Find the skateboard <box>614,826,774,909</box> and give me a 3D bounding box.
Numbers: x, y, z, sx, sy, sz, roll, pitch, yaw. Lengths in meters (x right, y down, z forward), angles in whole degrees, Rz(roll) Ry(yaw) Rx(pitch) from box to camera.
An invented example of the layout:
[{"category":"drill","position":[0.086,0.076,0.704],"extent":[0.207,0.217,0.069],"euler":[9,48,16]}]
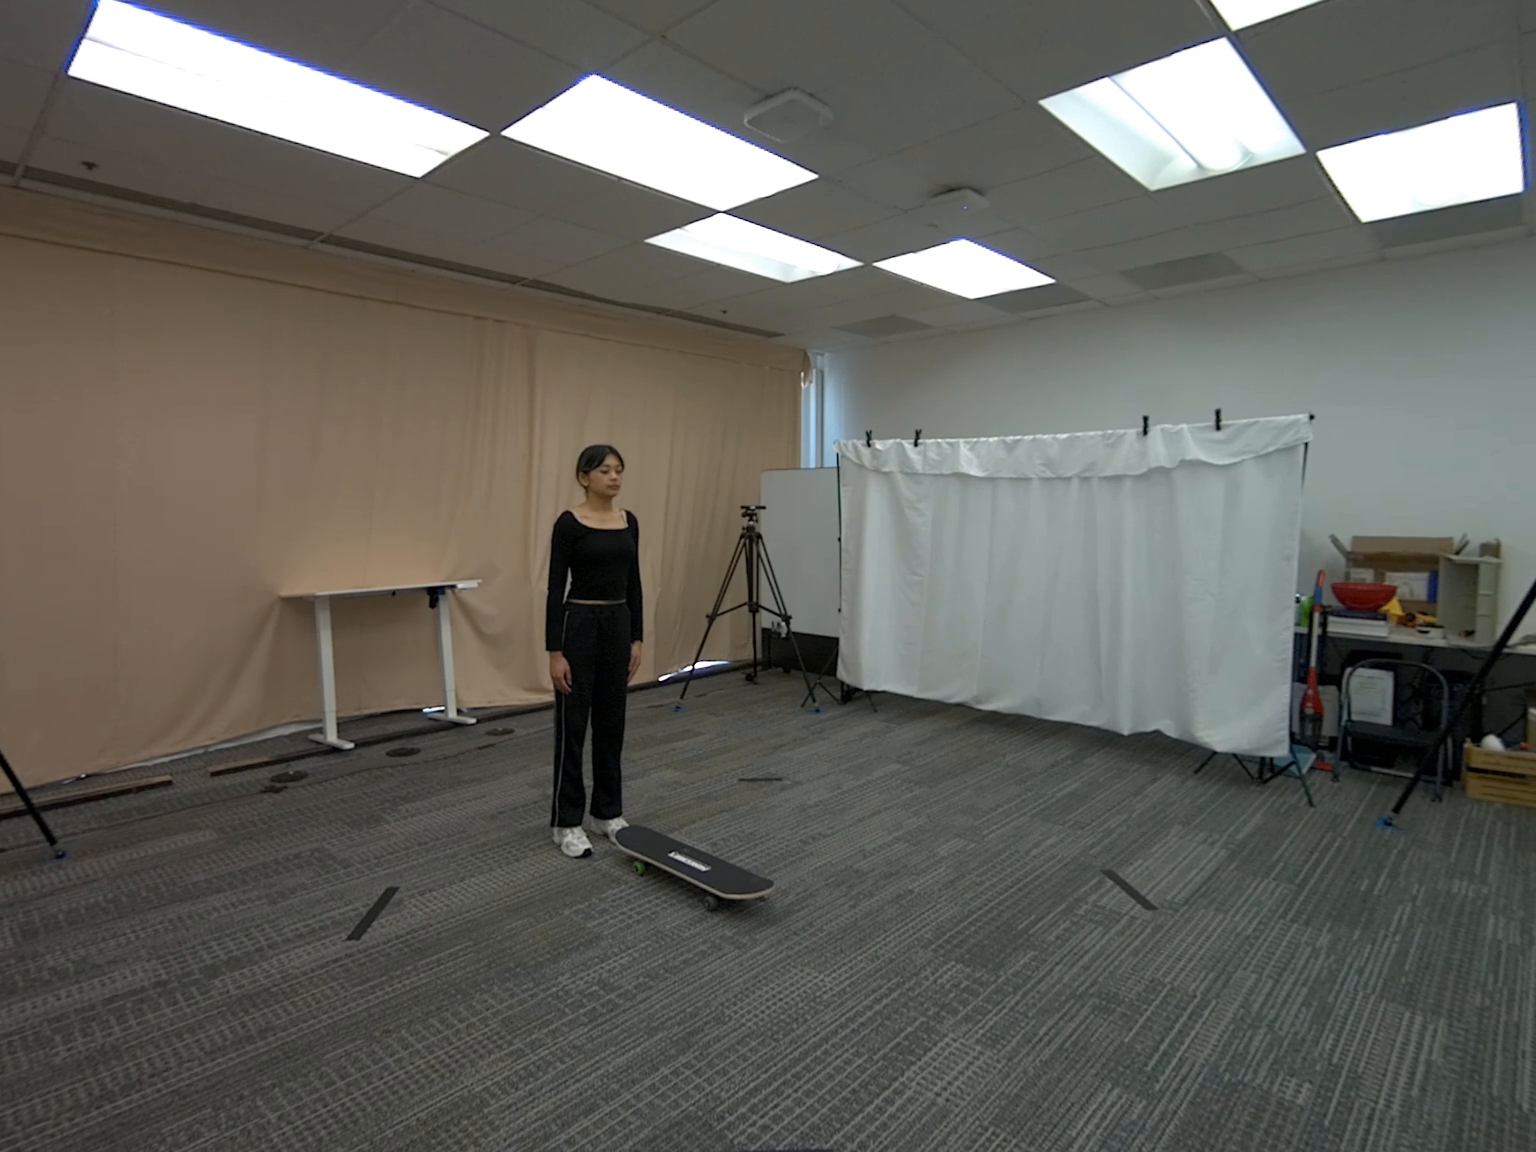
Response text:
[{"category":"skateboard","position":[-0.290,1.081,3.097],"extent":[0.812,0.110,0.187],"euler":[4,6,44]}]
